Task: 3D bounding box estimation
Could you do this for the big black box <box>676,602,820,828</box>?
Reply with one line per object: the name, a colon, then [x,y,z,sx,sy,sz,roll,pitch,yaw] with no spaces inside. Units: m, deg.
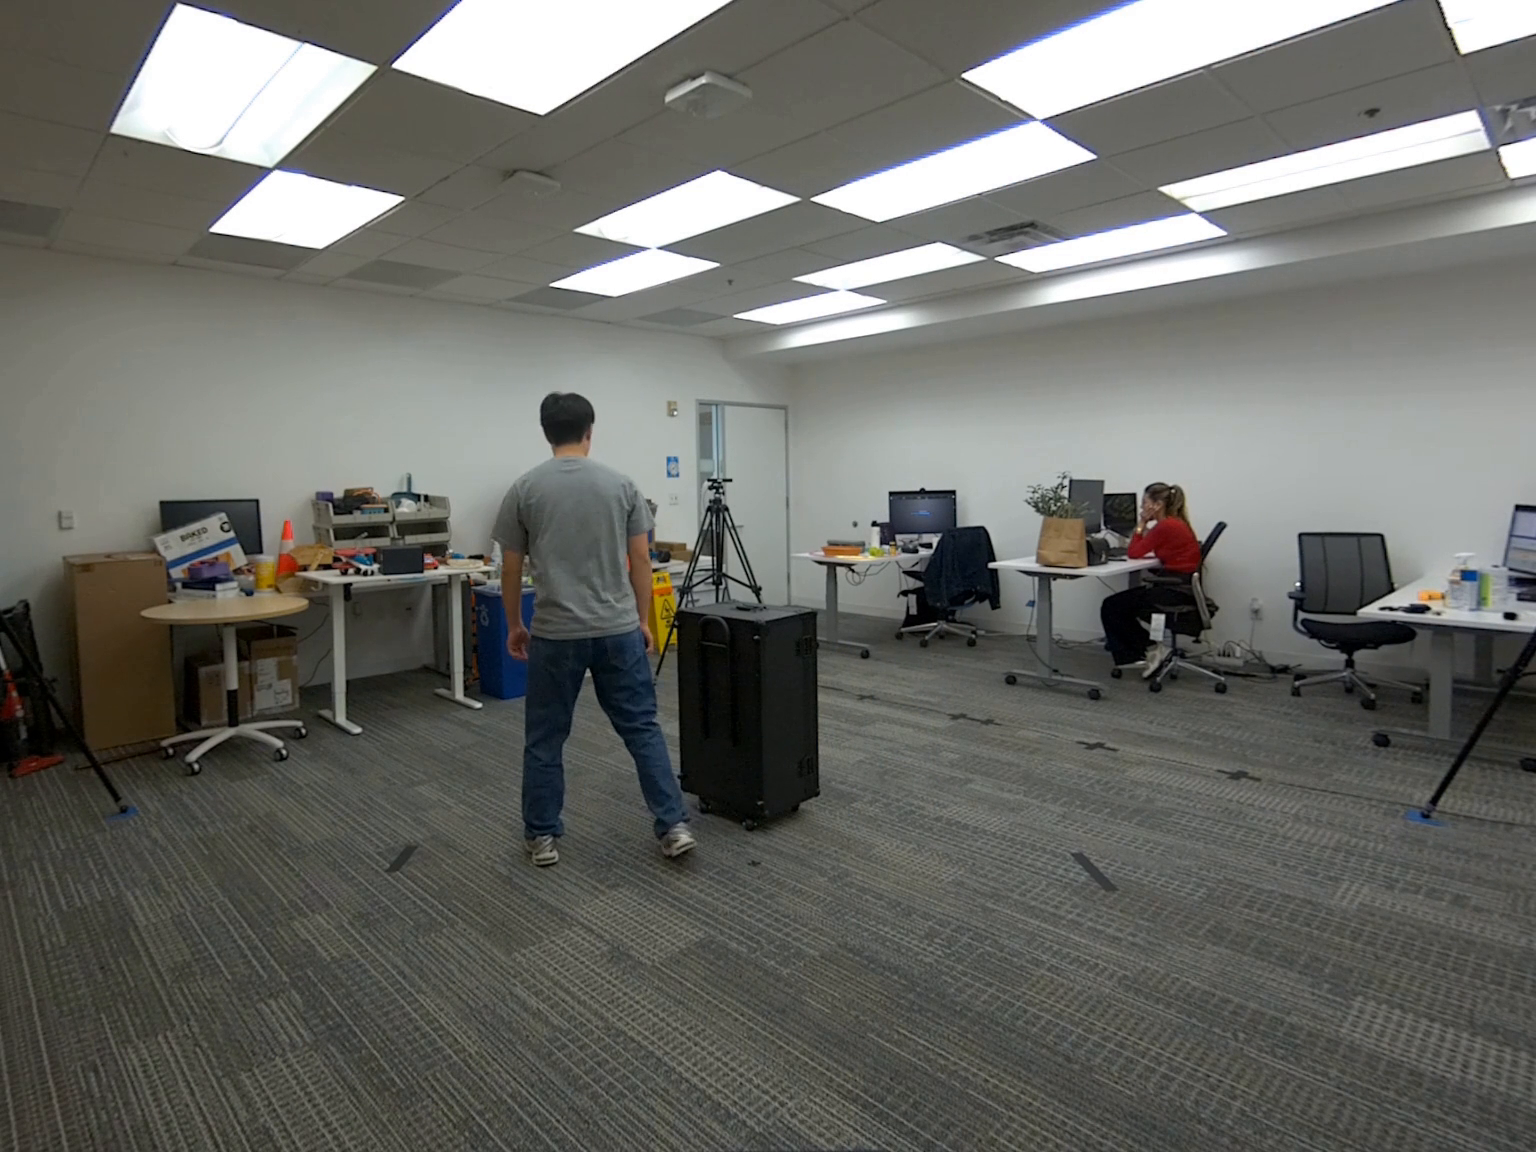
big black box: [-0.088,0.565,3.589,0.537,0.858,0.386,3,7,43]
